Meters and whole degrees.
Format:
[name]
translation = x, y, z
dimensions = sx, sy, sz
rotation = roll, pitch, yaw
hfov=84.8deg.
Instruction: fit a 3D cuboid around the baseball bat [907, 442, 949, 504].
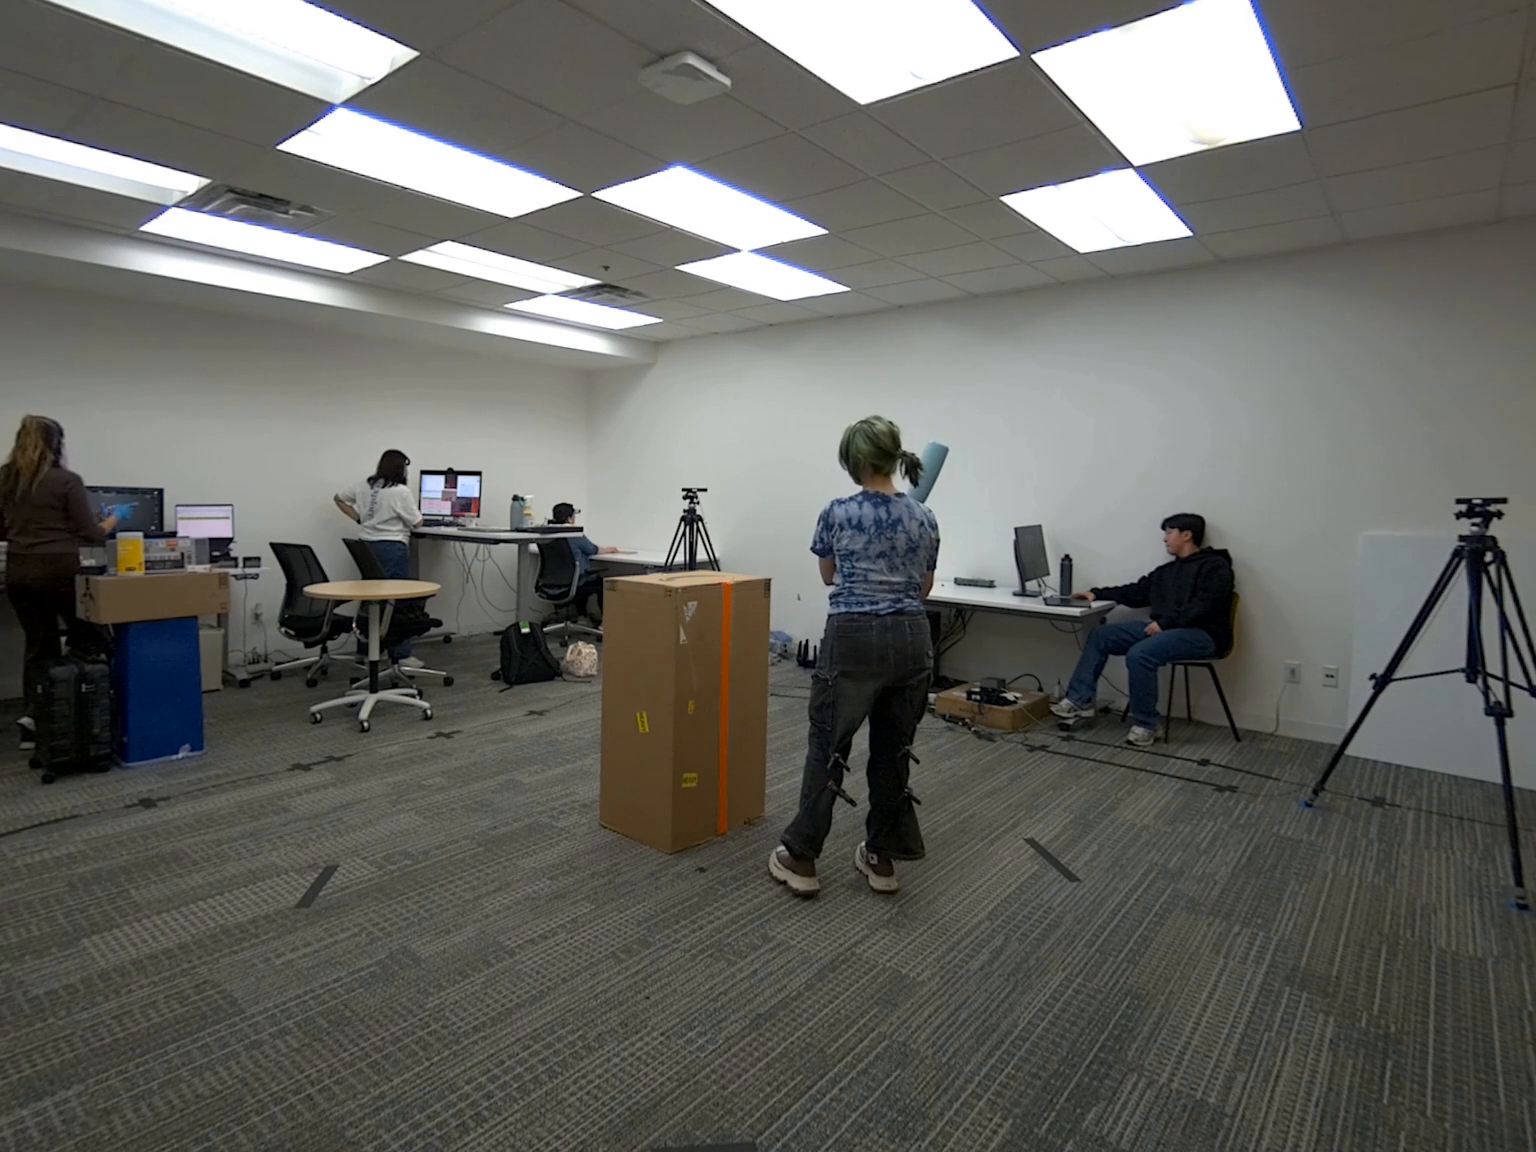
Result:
[baseball bat]
translation = 0.552, -0.270, 3.312
dimensions = 0.089, 0.542, 0.089
rotation = 23, 2, -3
